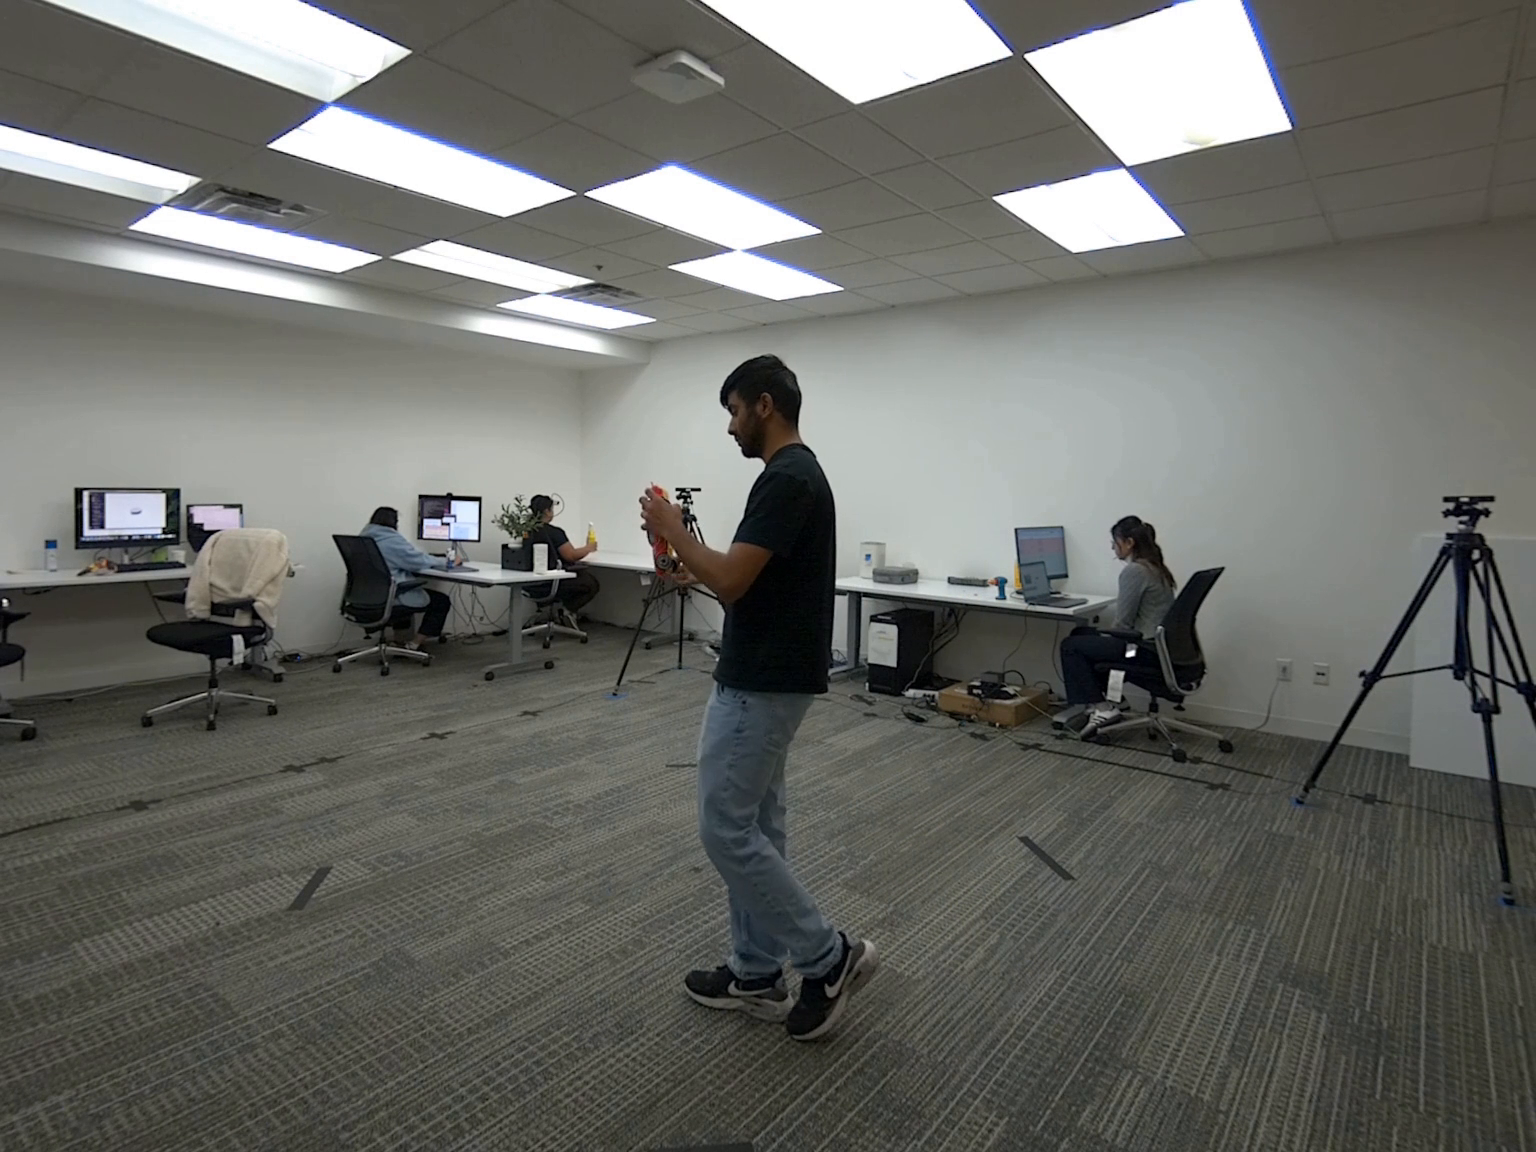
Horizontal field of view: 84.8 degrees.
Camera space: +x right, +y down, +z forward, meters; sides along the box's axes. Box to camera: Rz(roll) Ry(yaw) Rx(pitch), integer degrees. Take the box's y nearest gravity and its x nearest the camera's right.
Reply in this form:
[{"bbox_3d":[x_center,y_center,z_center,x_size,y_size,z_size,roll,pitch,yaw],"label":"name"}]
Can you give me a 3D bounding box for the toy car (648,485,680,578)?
[{"bbox_3d":[-0.286,-0.124,2.276,0.083,0.256,0.129,-15,-6,4],"label":"toy car"}]
